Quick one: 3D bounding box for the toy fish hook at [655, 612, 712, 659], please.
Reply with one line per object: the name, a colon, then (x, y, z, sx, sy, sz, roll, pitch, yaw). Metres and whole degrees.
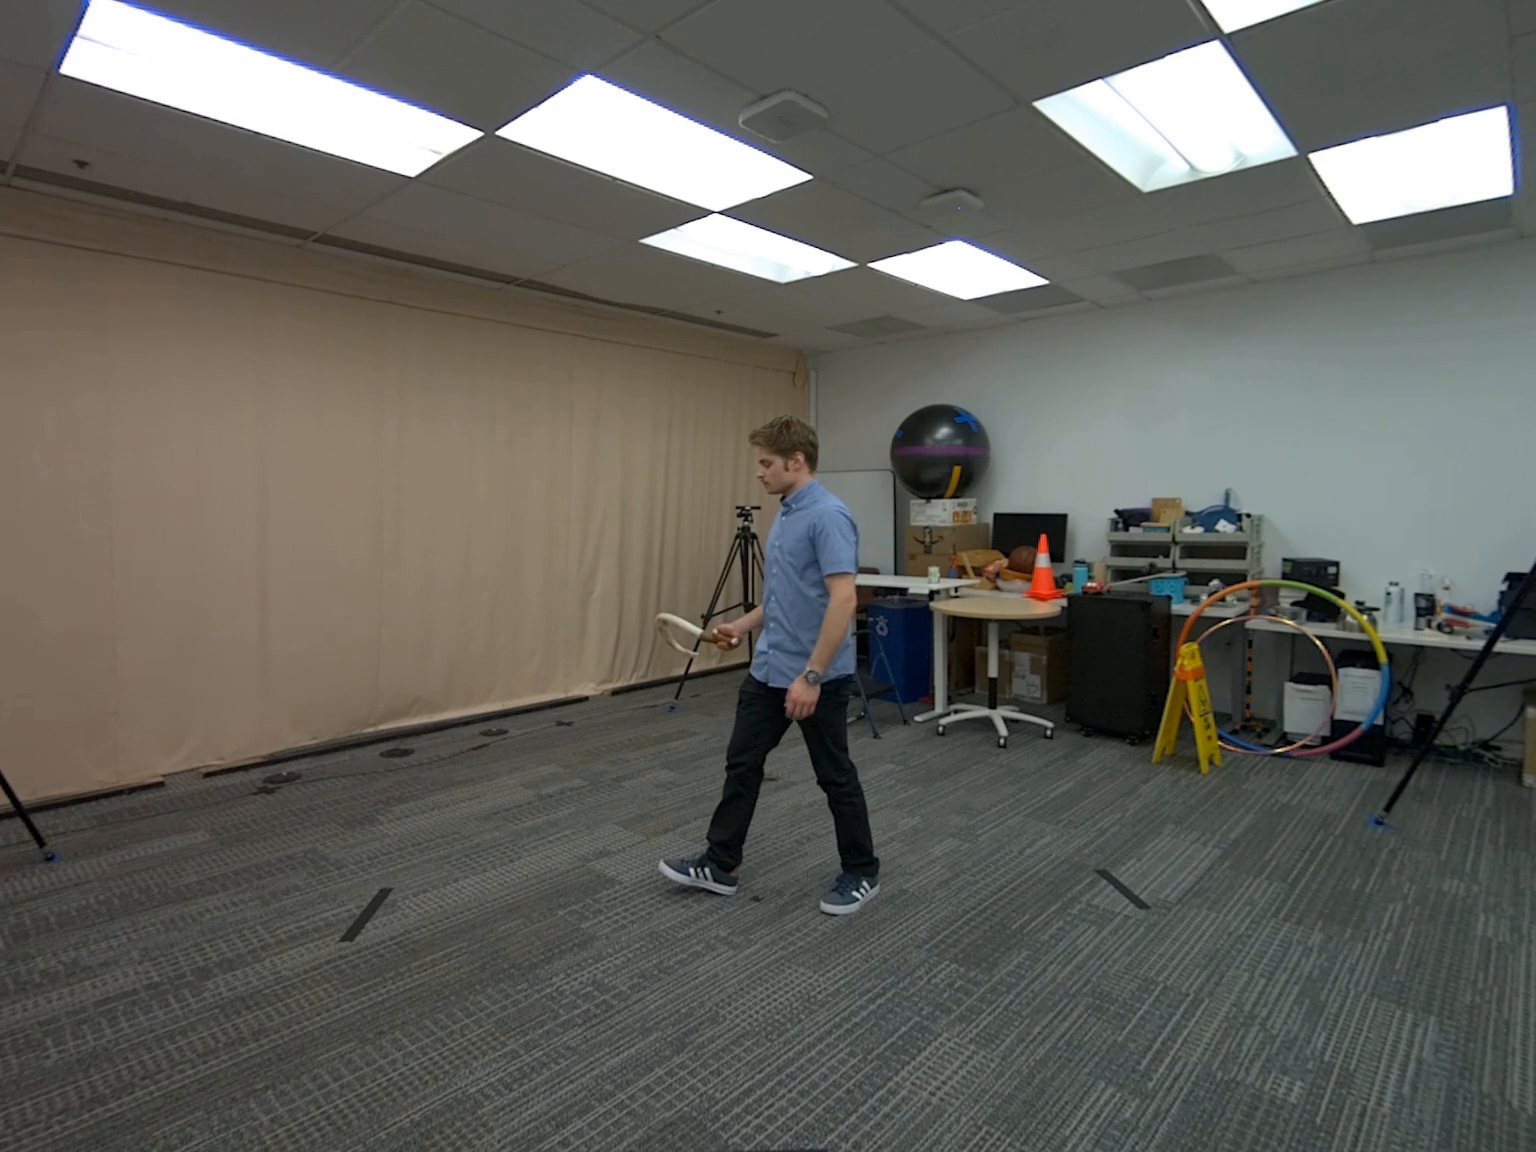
toy fish hook: (-0.287, 0.267, 3.412, 0.524, 0.219, 0.048, 12, 45, 46)
